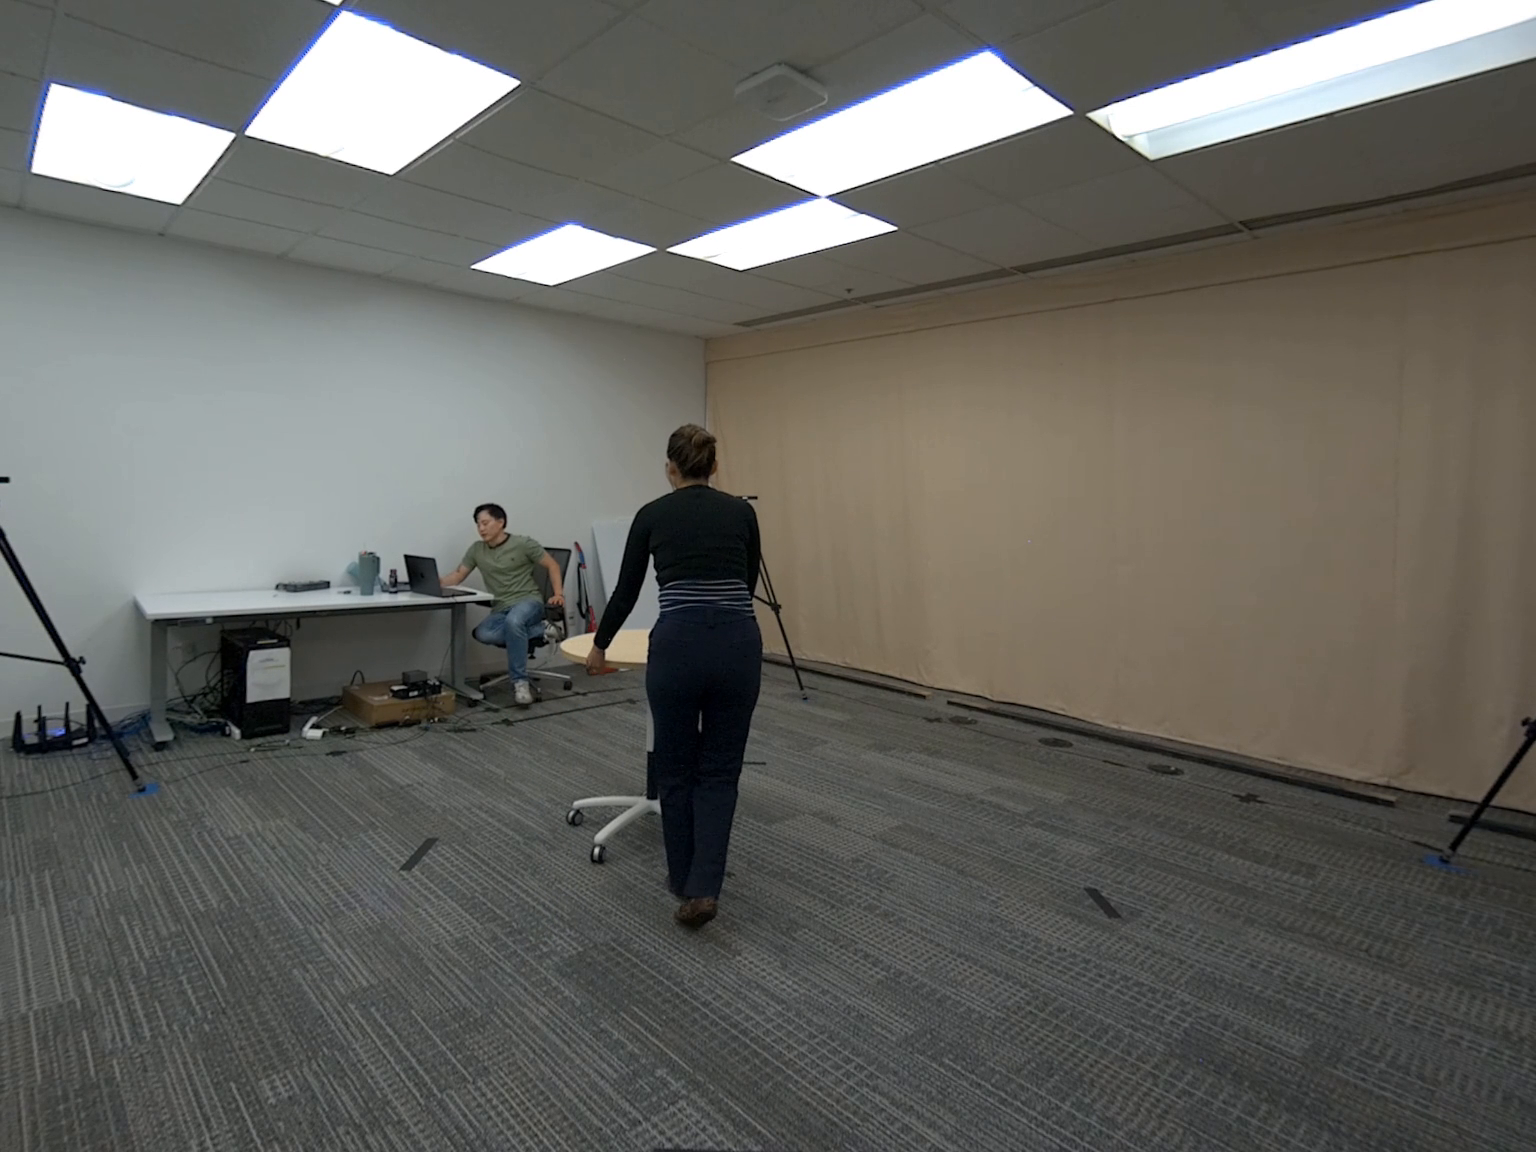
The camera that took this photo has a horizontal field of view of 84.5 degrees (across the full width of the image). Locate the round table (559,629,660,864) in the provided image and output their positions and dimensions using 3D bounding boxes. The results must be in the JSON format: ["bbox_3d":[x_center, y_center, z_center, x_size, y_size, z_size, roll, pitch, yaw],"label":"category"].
[{"bbox_3d":[-0.483,0.677,3.460,0.763,0.792,0.766,1,4,-1],"label":"round table"}]
